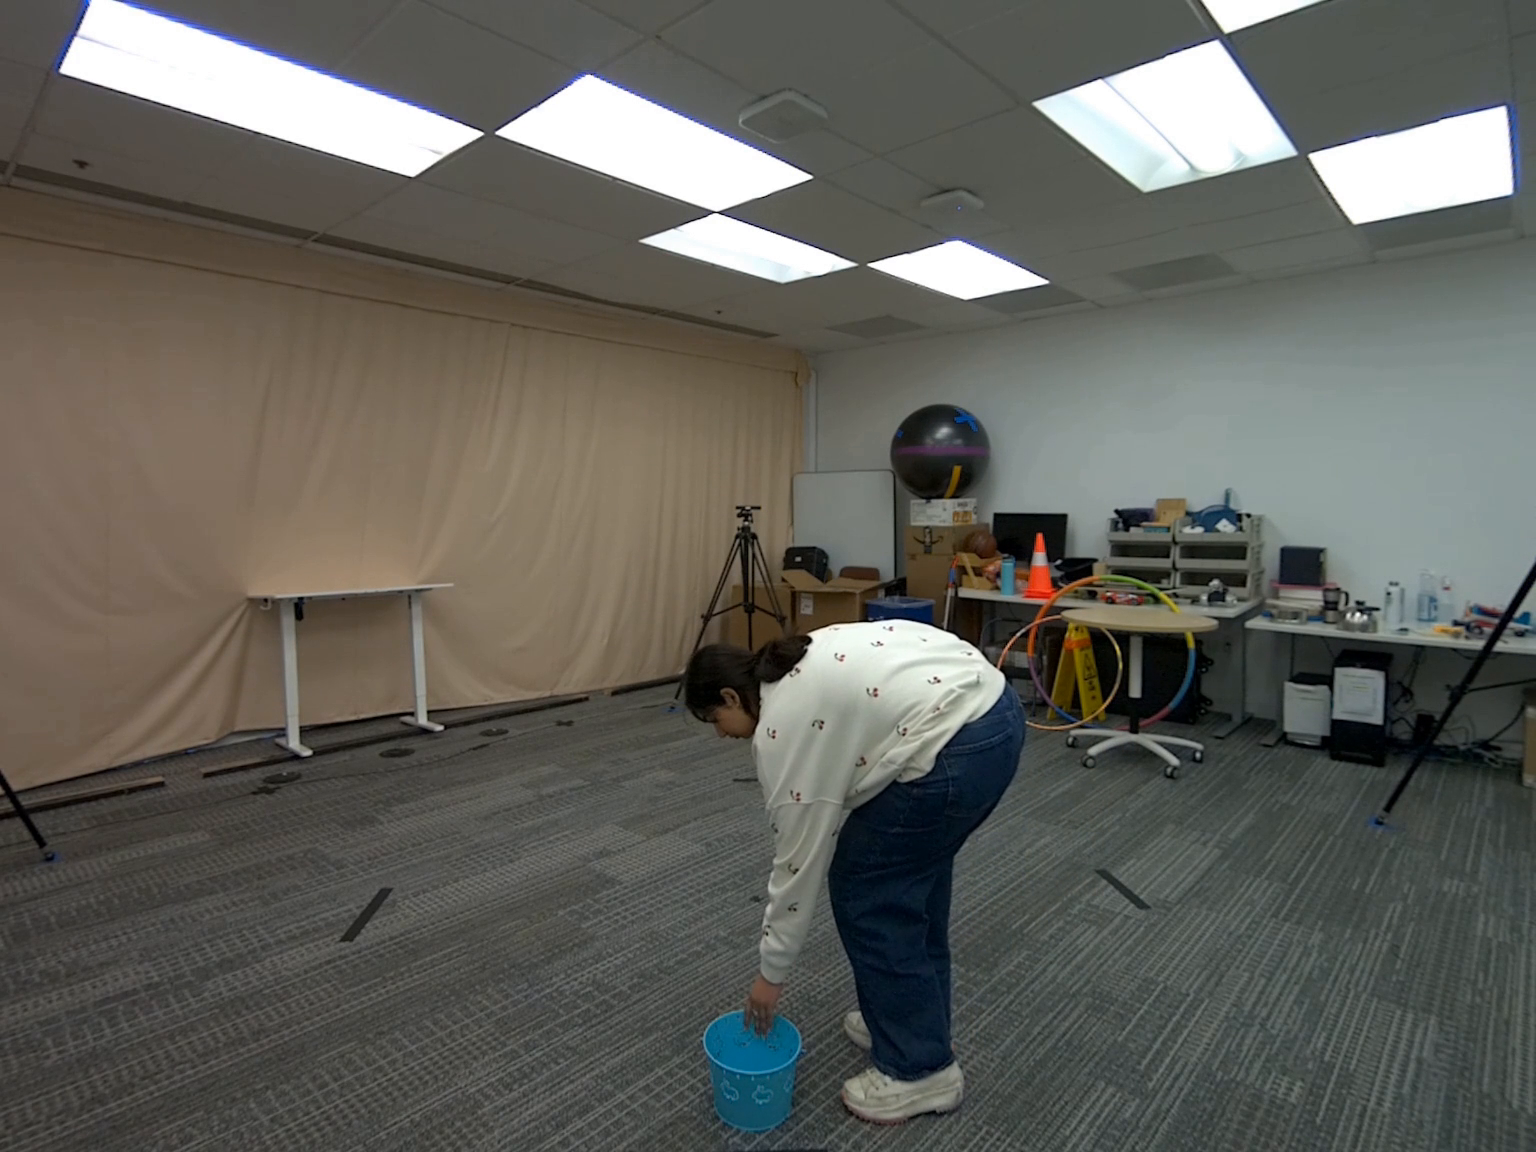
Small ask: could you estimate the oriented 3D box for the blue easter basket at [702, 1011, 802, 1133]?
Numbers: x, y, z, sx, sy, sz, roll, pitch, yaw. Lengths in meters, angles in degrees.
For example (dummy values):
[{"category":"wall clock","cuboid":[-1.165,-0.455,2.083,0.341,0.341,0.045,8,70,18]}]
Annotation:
[{"category":"blue easter basket","cuboid":[-0.037,1.157,1.962,0.243,0.155,0.244,0,4,-2]}]
